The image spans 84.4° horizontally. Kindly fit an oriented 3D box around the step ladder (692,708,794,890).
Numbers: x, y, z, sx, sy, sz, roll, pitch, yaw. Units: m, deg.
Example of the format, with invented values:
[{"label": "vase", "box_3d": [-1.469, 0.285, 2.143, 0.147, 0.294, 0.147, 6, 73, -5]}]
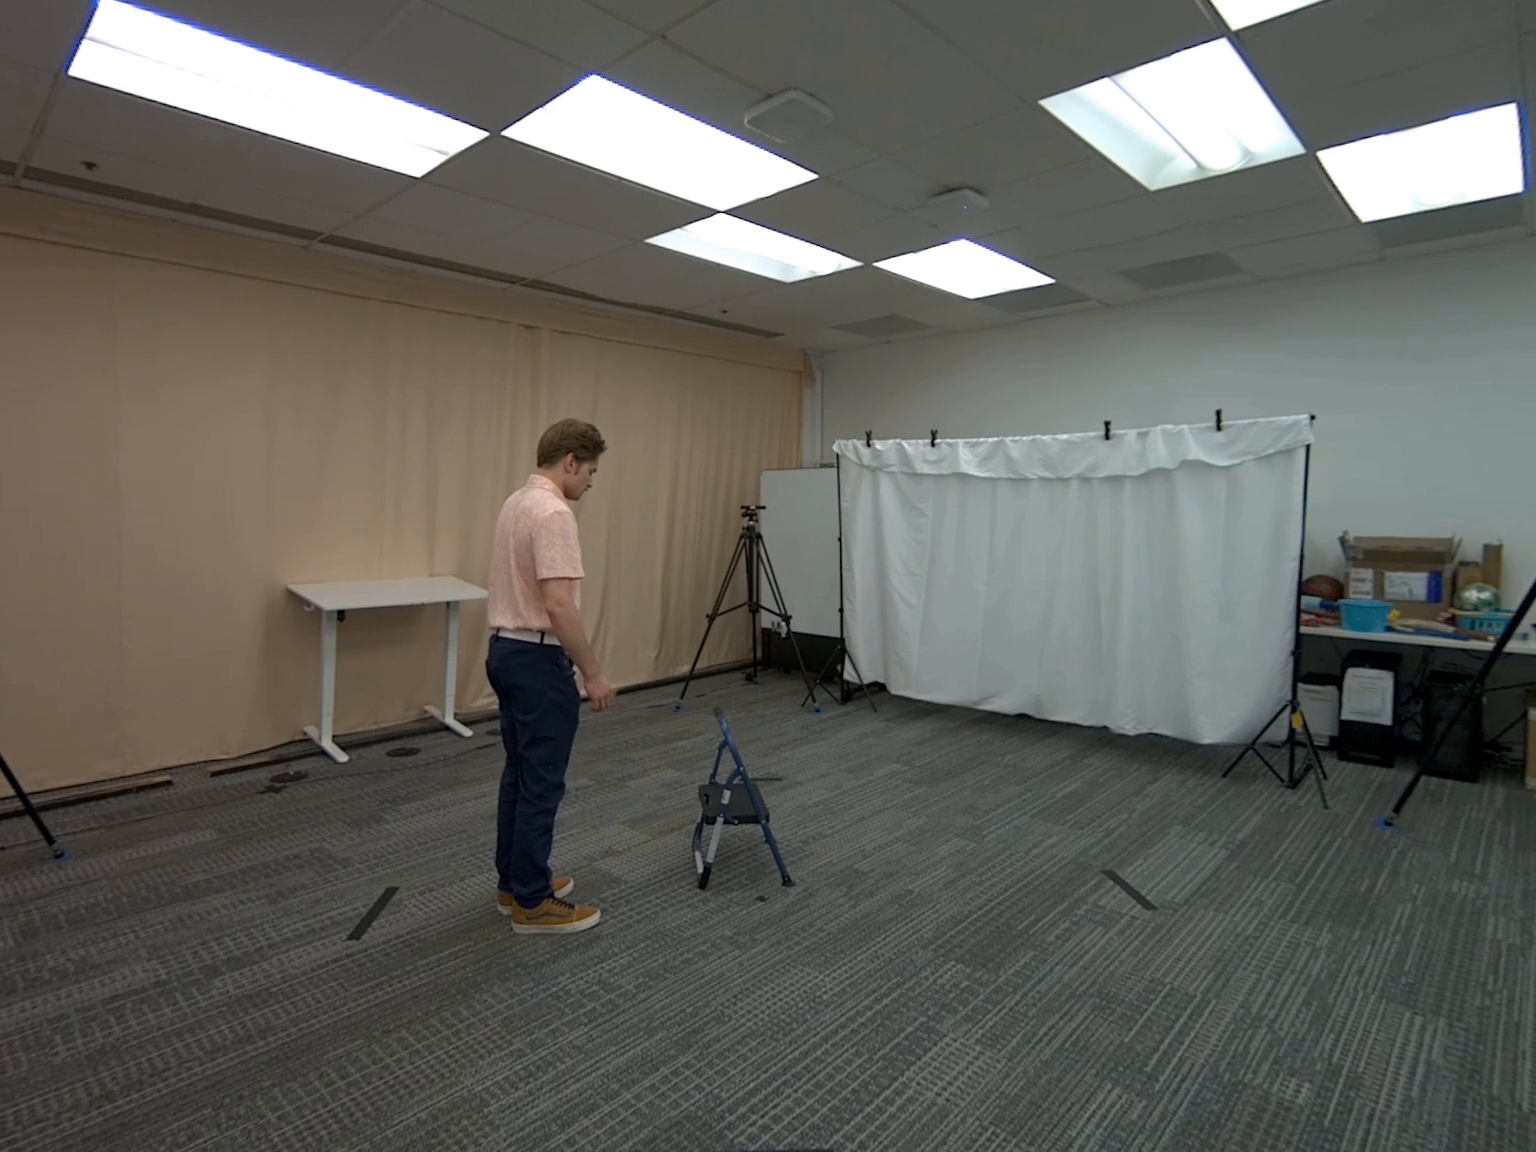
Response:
[{"label": "step ladder", "box_3d": [-0.111, 0.823, 3.262, 0.346, 0.605, 0.435, 0, 2, -9]}]
